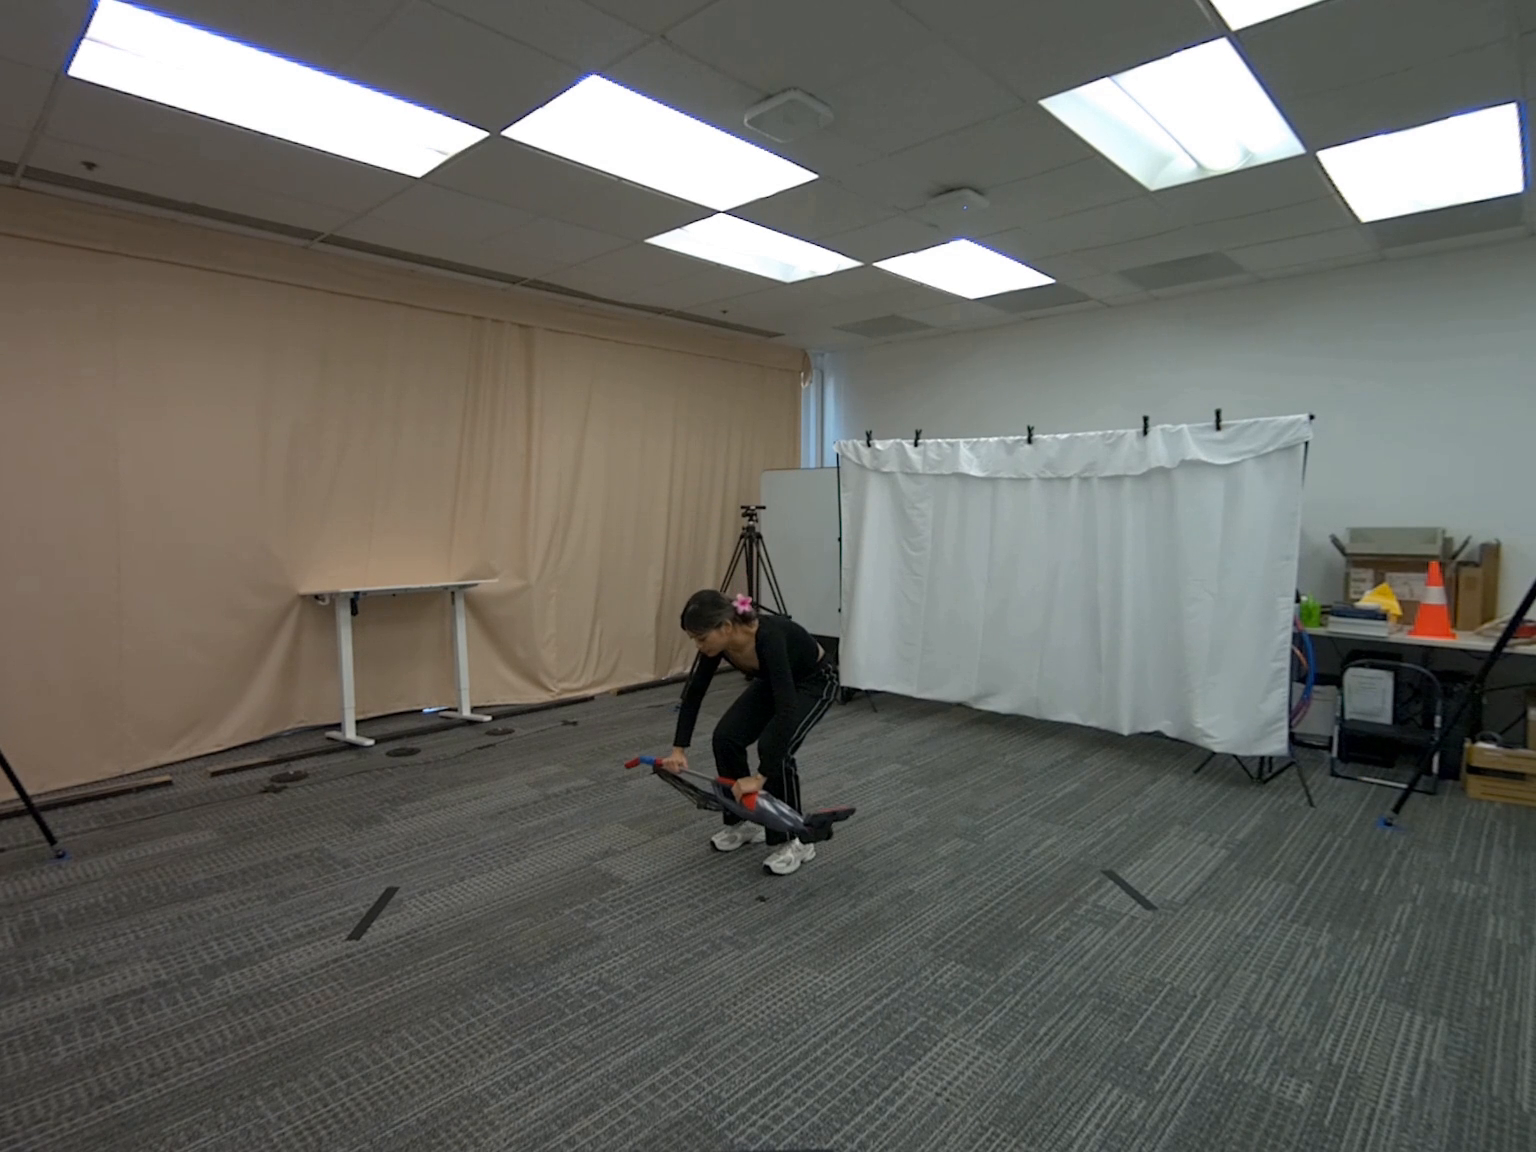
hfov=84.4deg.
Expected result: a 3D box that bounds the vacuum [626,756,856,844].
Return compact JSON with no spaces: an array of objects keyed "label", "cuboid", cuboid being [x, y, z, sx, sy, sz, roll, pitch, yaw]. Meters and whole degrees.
[{"label":"vacuum","cuboid":[-0.207,0.814,3.178,1.084,0.144,0.244,3,-7,42]}]
